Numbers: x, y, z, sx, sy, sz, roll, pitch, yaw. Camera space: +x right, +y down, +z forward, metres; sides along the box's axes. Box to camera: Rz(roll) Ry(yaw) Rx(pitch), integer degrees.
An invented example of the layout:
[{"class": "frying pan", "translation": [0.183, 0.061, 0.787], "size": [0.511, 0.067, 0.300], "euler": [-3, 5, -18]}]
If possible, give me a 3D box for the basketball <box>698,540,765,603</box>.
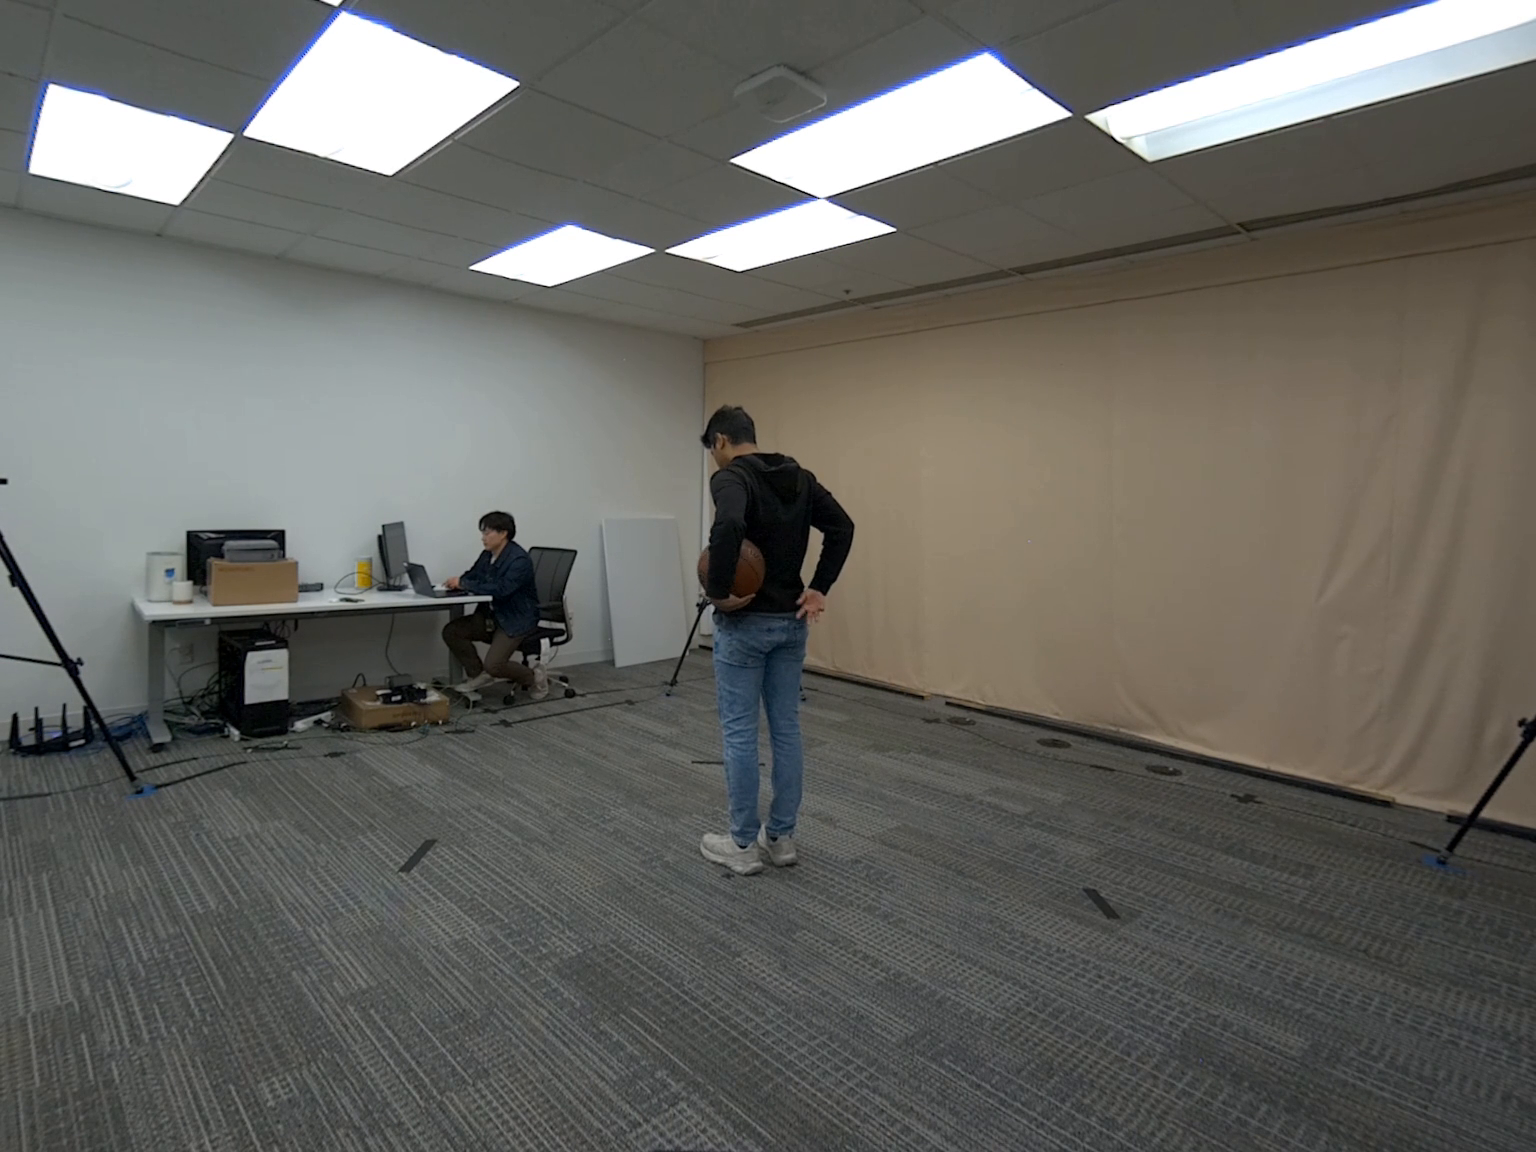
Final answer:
[{"class": "basketball", "translation": [-0.140, -0.024, 2.967], "size": [0.236, 0.235, 0.237], "euler": [1, 4, -1]}]
